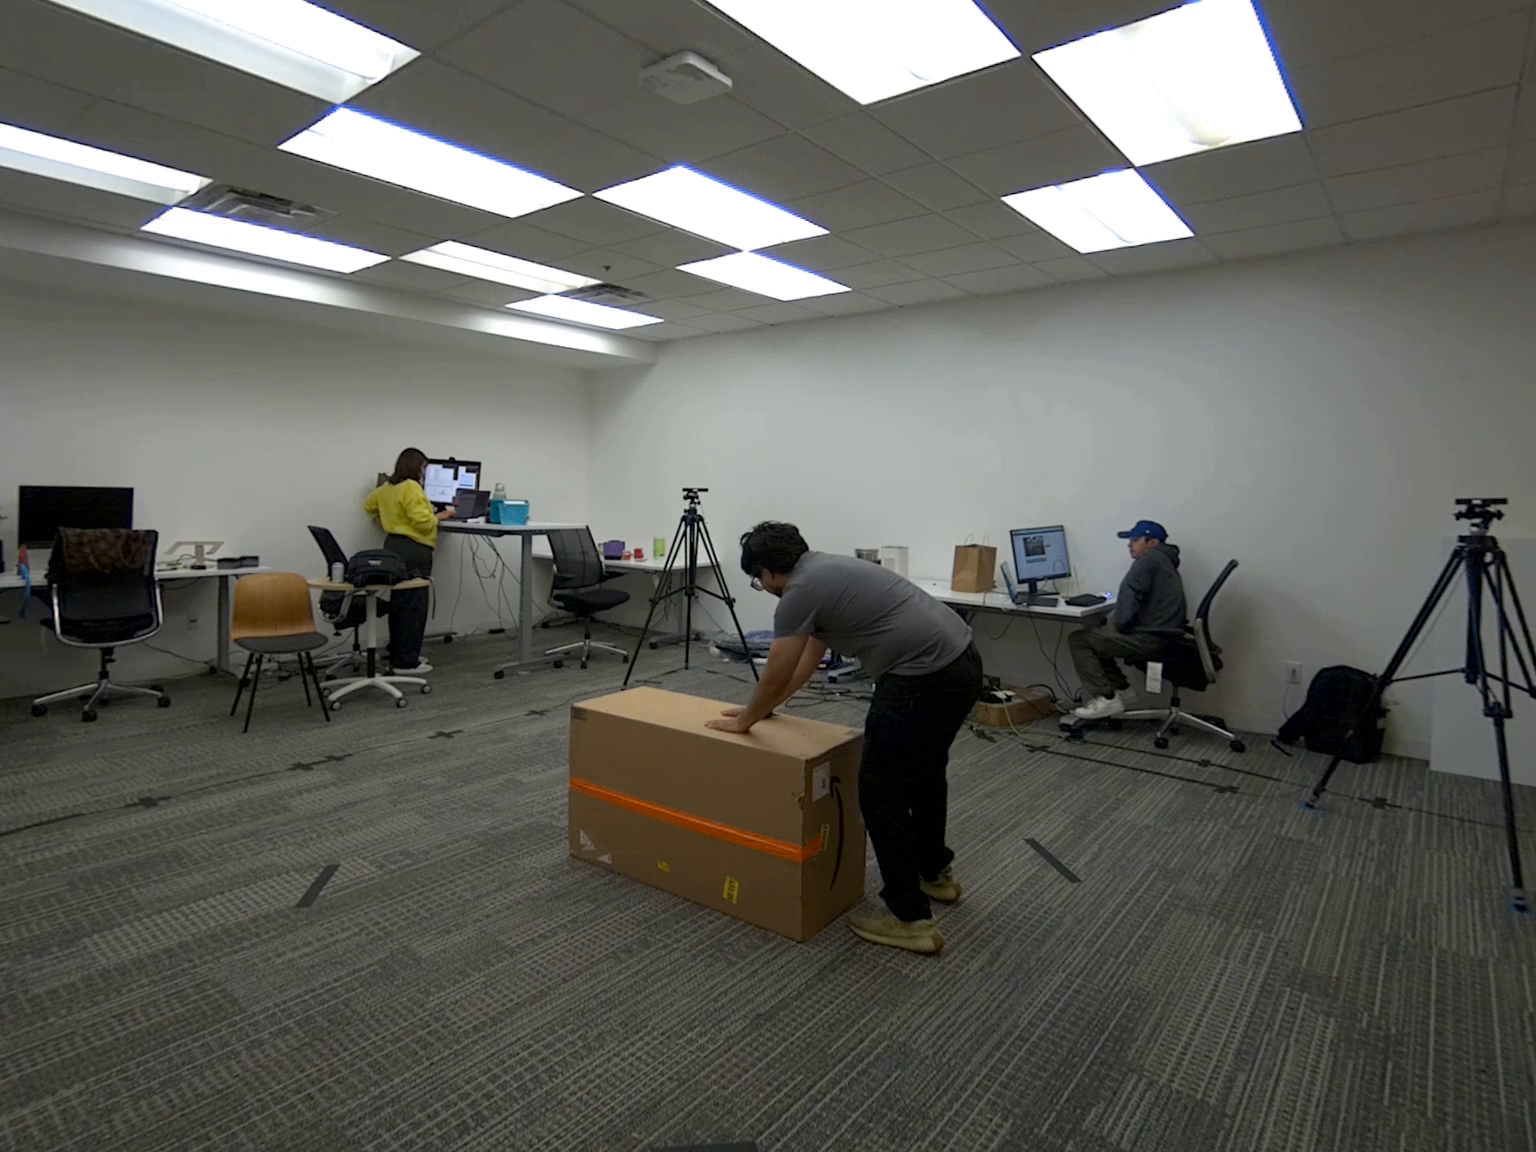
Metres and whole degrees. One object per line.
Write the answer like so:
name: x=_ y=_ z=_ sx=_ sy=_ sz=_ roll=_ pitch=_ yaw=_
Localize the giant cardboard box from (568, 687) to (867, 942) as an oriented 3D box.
giant cardboard box: x=-0.218 y=0.788 z=3.058 sx=1.059 sy=0.575 sz=0.414 roll=5 pitch=5 yaw=35
